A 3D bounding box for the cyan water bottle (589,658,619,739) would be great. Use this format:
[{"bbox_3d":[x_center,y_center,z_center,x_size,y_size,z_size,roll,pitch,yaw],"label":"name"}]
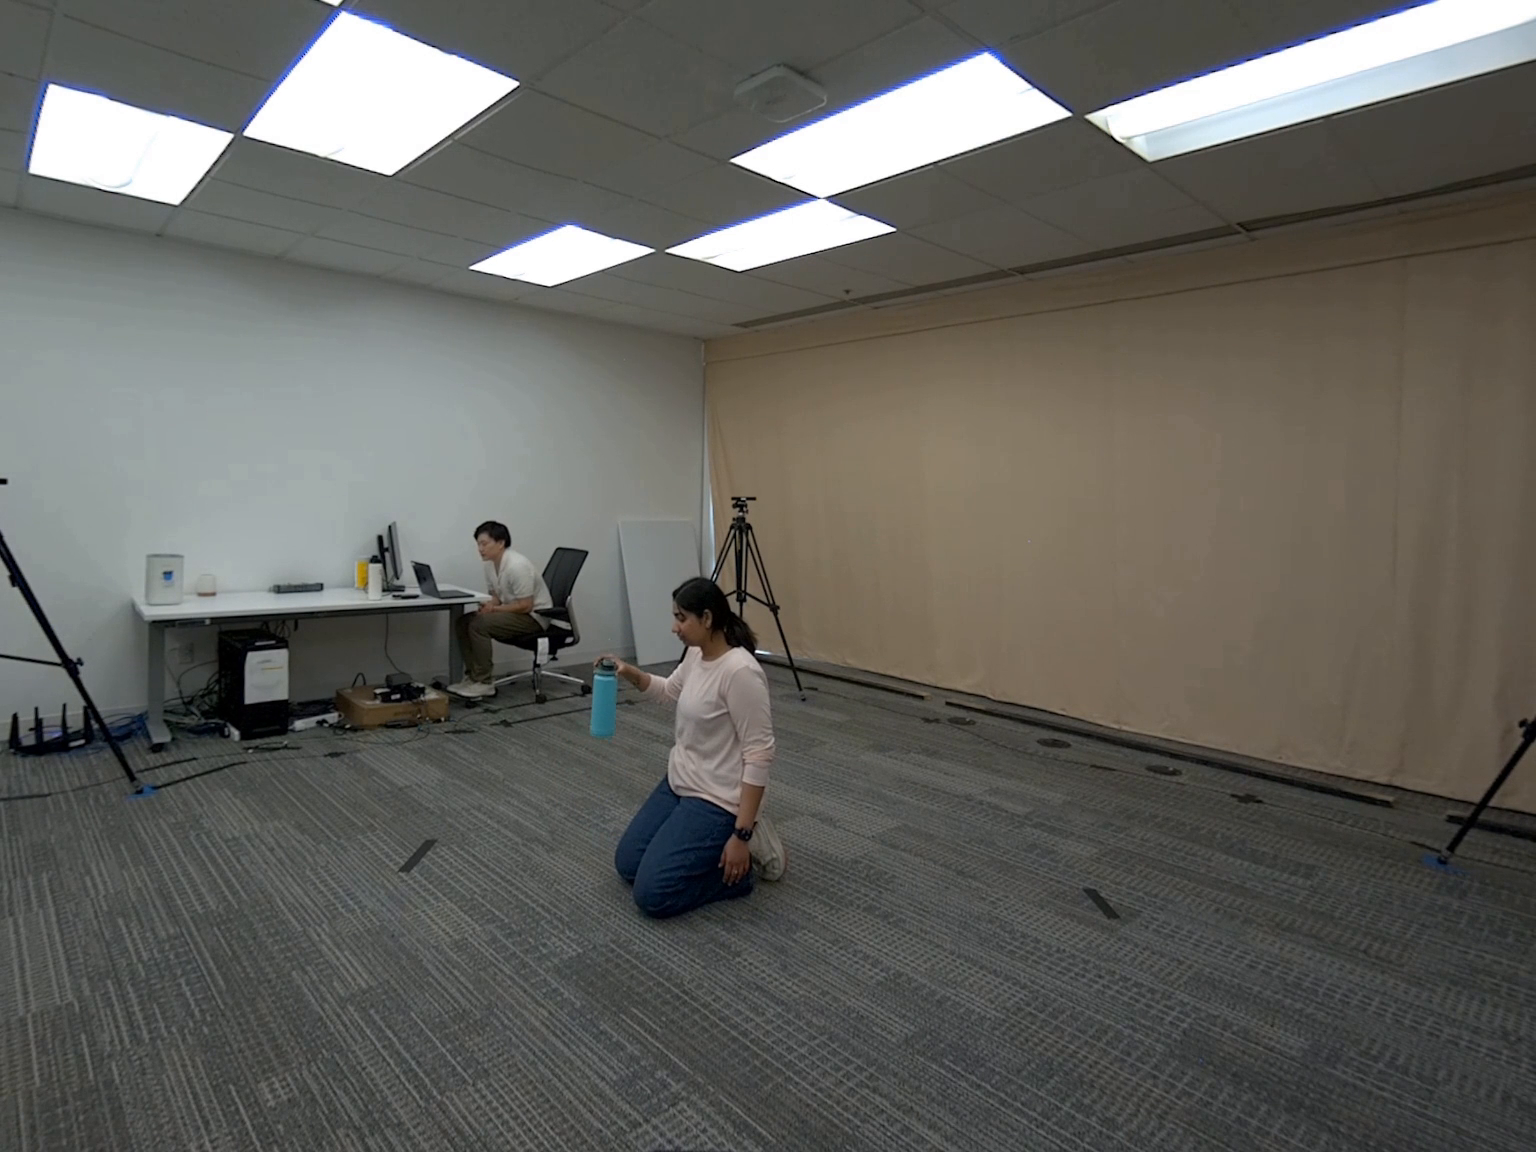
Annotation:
[{"bbox_3d":[-0.609,0.446,3.114,0.092,0.283,0.092,2,2,-1],"label":"cyan water bottle"}]
